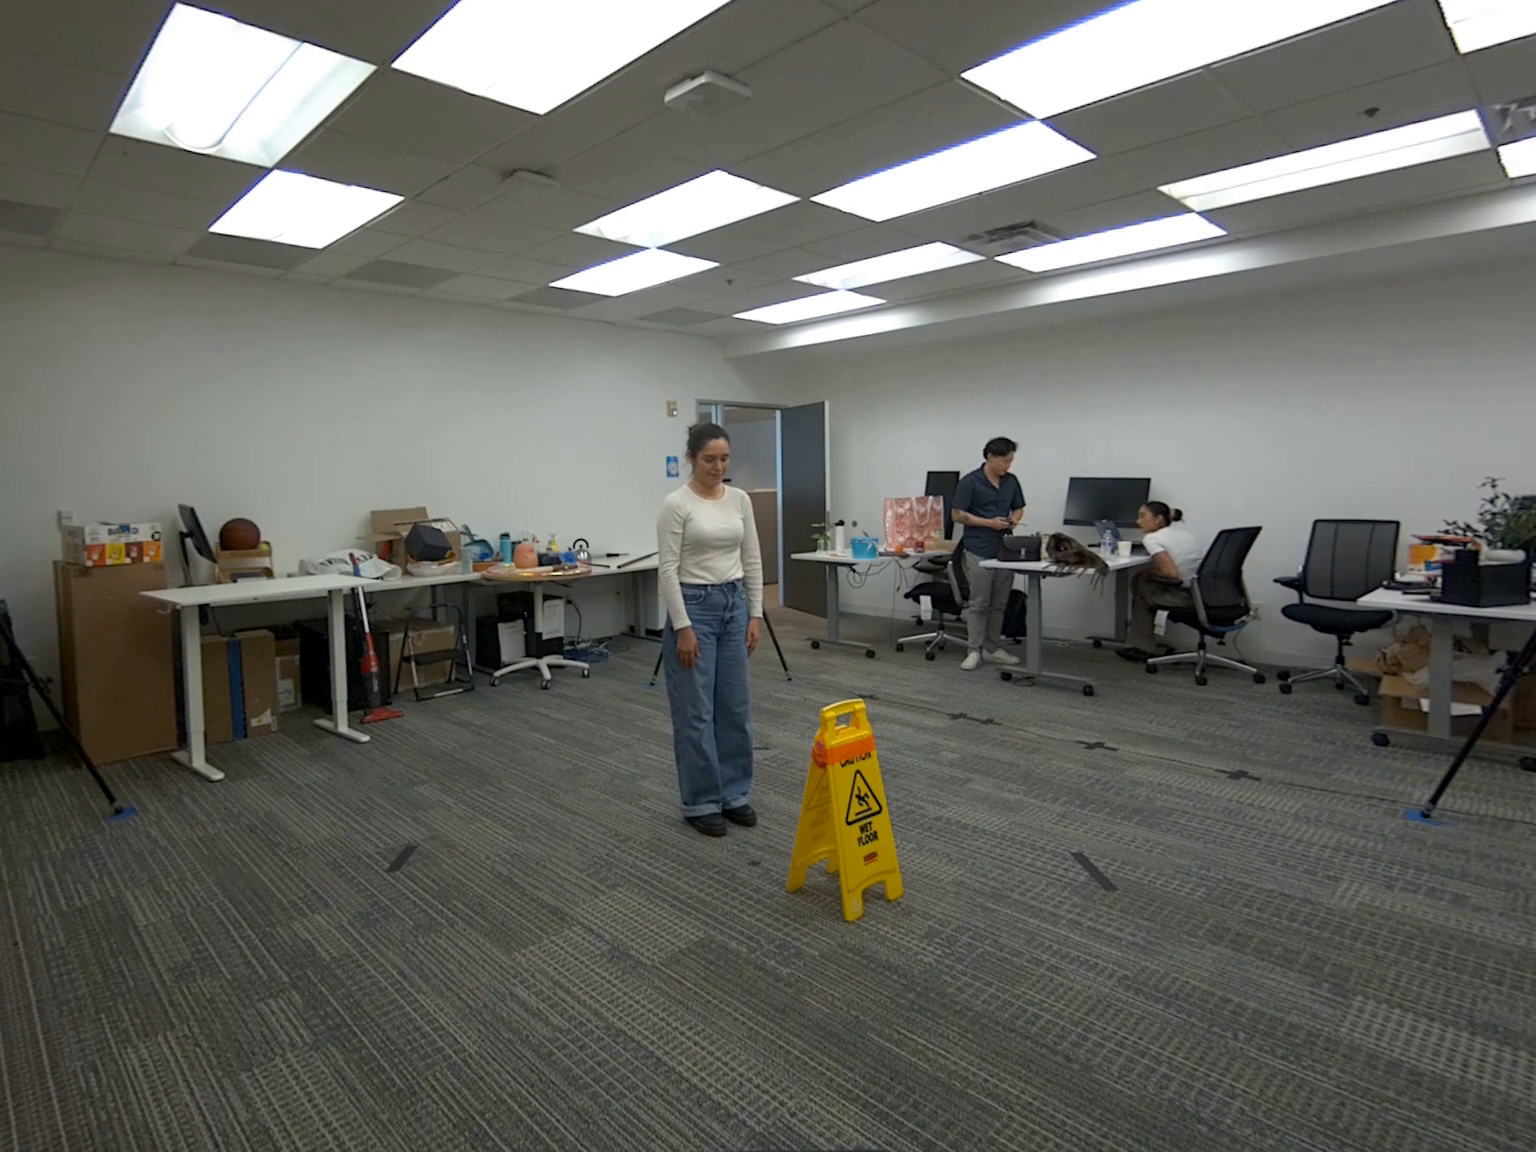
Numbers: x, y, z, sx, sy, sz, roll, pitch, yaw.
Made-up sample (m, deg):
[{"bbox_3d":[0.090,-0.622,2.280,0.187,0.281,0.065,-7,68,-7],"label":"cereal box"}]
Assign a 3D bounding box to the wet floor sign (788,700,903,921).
[{"bbox_3d":[0.251,0.741,2.854,0.275,0.644,0.298,-4,4,-42],"label":"wet floor sign"}]
